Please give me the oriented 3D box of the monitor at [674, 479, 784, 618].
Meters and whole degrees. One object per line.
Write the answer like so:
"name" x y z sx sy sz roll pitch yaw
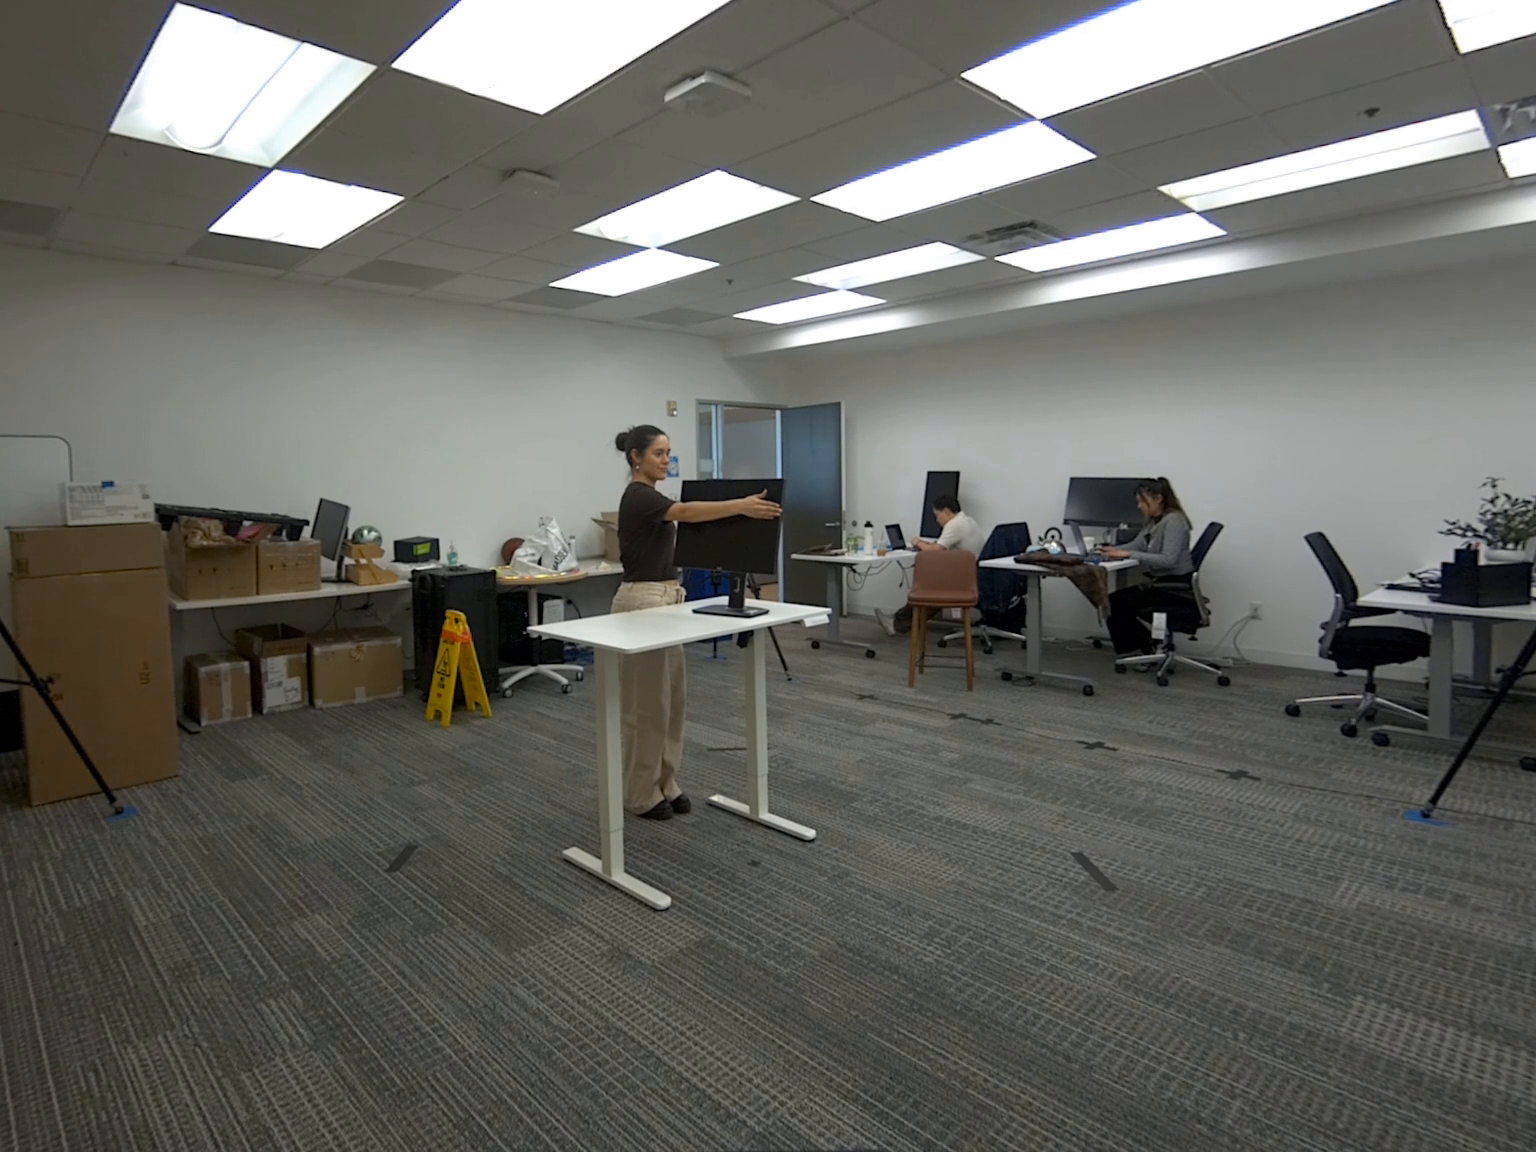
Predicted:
"monitor" -0.139 -0.109 3.280 0.555 0.520 0.182 3 6 42
